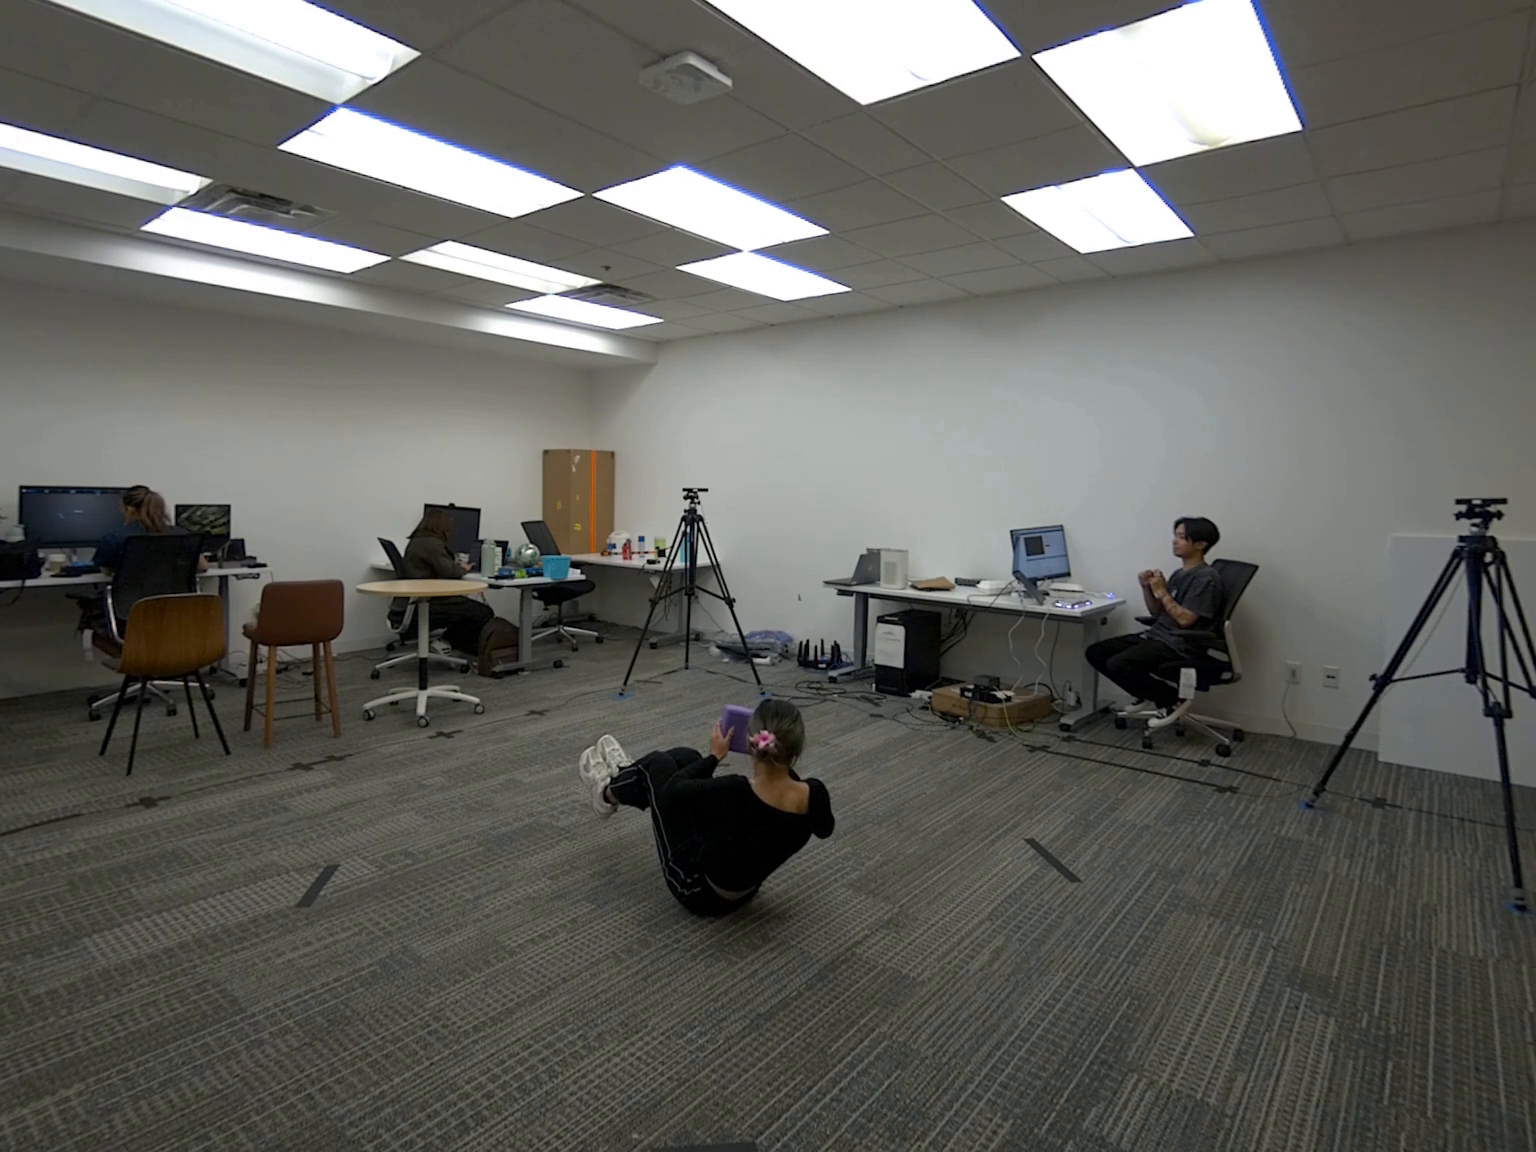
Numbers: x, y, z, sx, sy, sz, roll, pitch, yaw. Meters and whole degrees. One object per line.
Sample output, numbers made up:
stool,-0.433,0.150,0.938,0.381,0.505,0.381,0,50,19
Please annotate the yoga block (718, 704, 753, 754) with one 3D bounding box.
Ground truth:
yoga block,-0.059,0.558,3.009,0.226,0.149,0.077,13,2,-11
